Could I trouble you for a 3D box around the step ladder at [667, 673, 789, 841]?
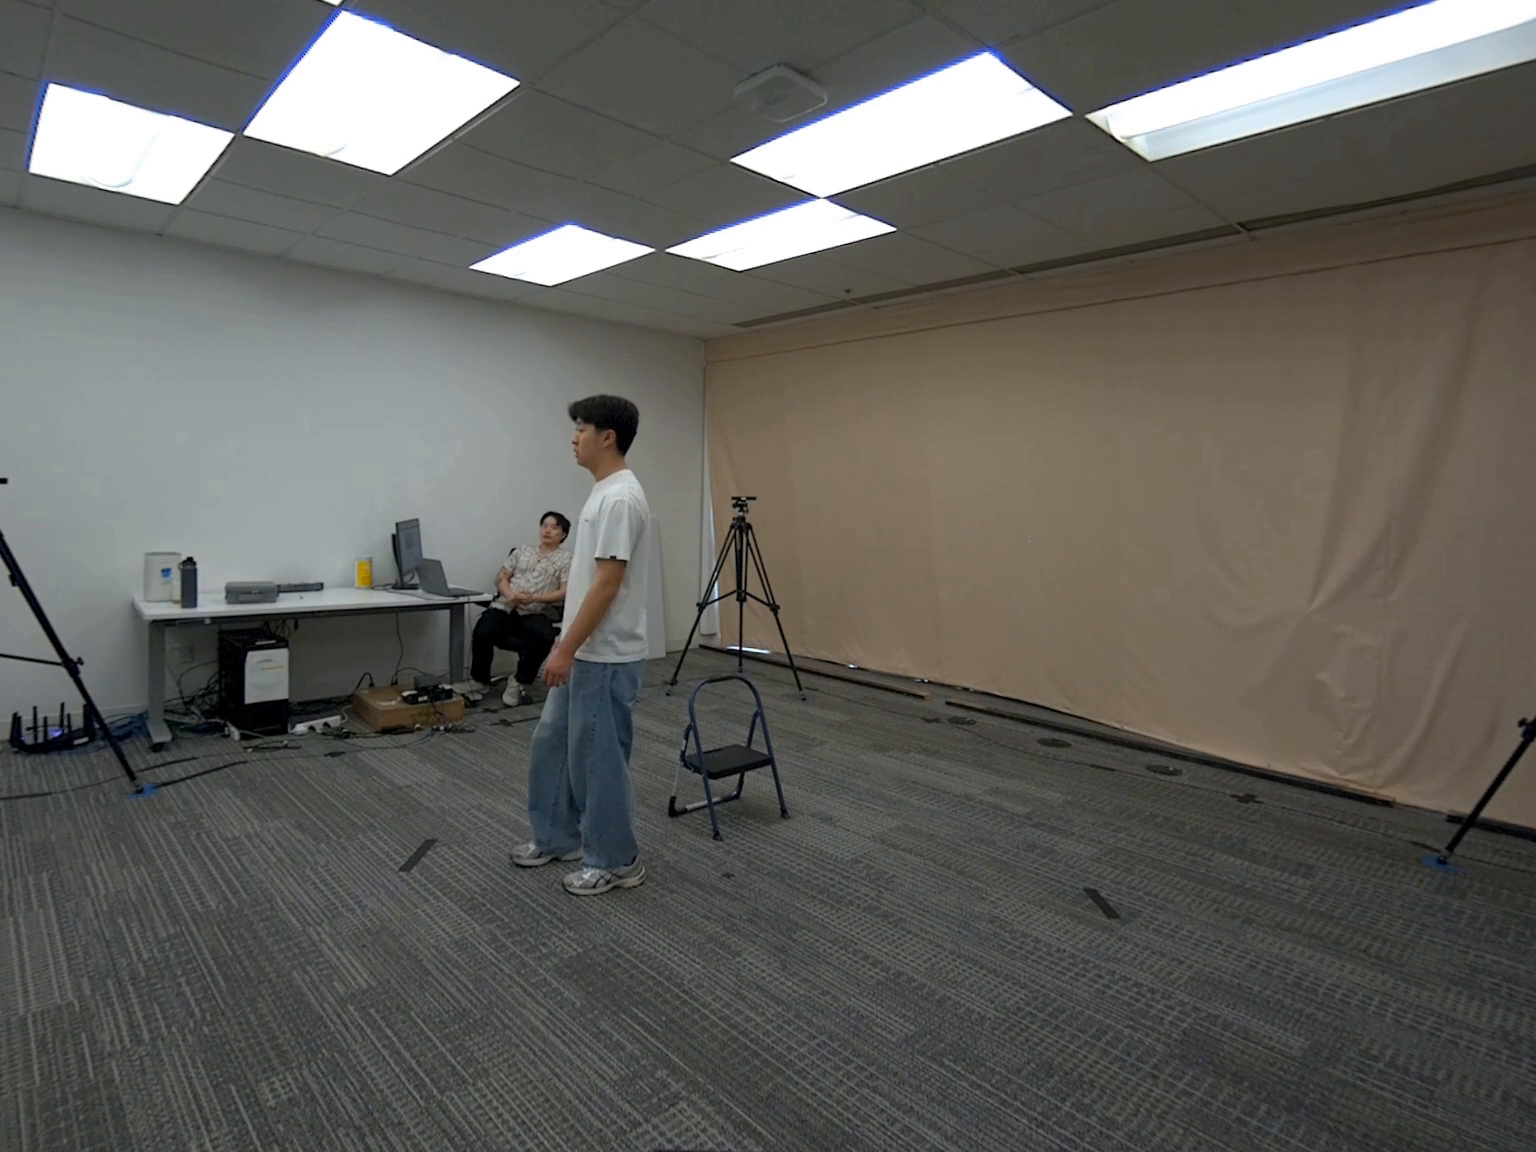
[{"bbox_3d":[-0.172,0.751,3.670,0.420,0.604,0.358,-1,5,-44],"label":"step ladder"}]
